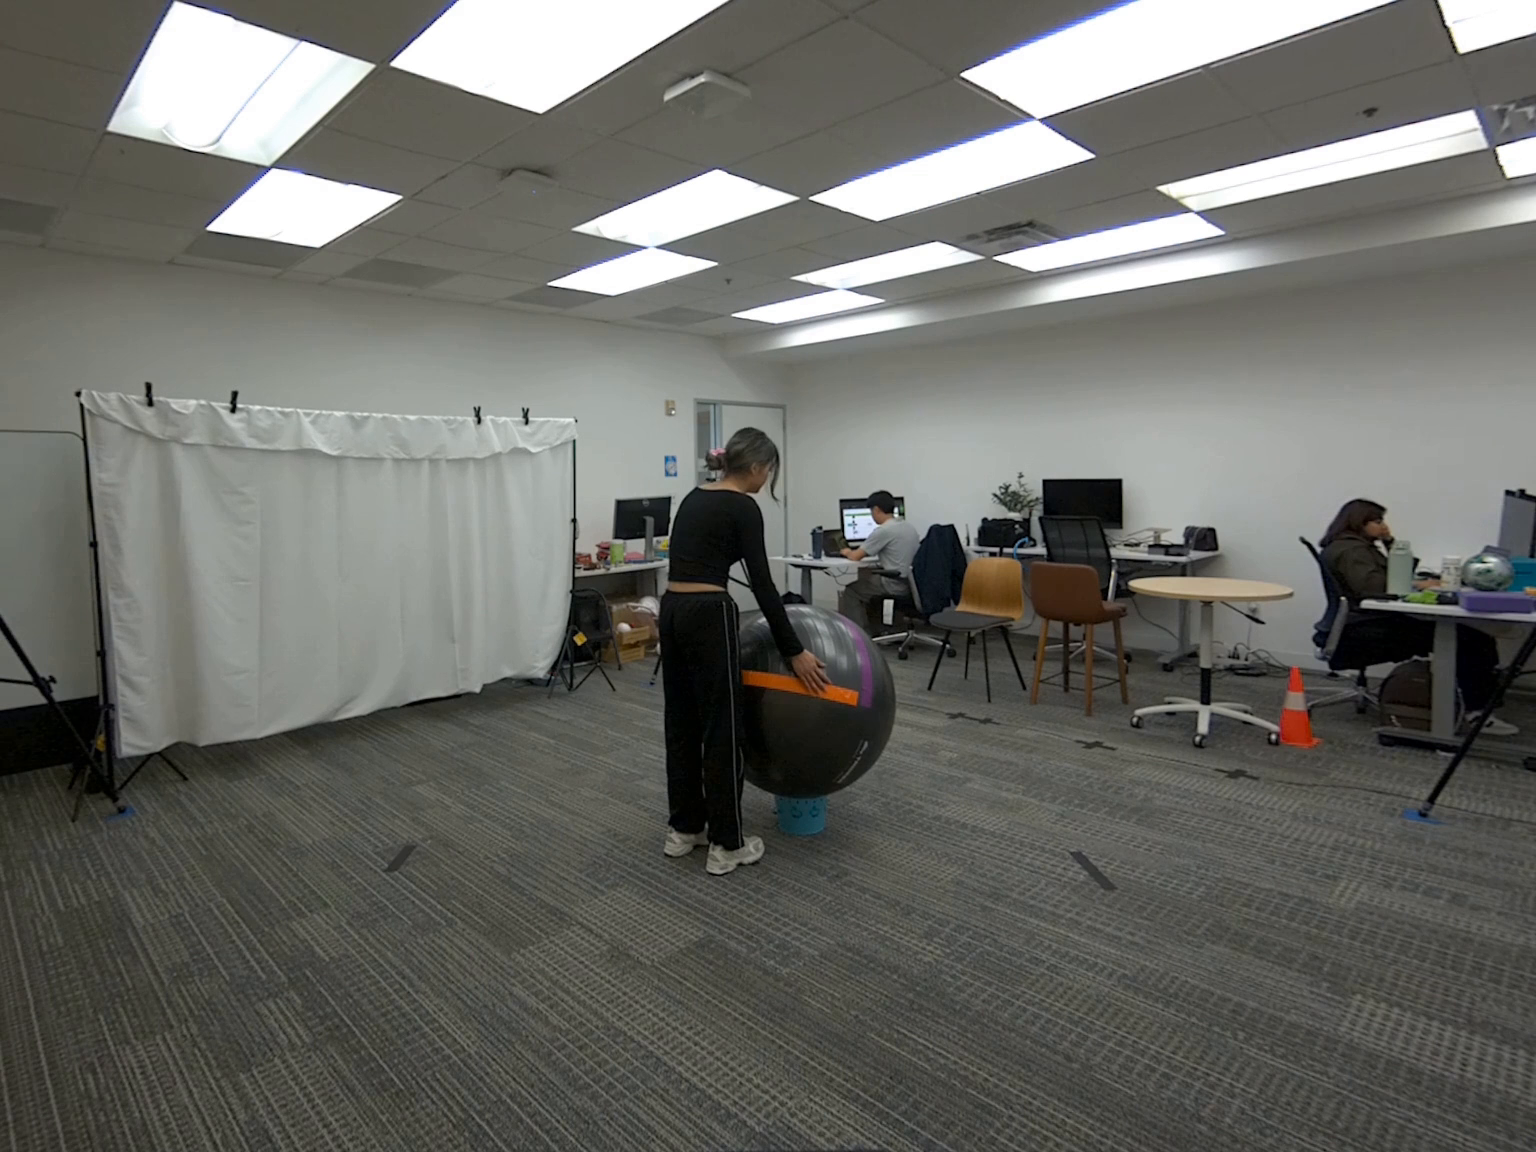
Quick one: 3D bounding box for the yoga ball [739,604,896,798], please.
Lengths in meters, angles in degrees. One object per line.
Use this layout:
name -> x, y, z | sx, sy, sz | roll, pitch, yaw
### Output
yoga ball -> 0.126, 0.498, 3.418 | 0.757, 0.755, 0.762 | -1, 5, -2
